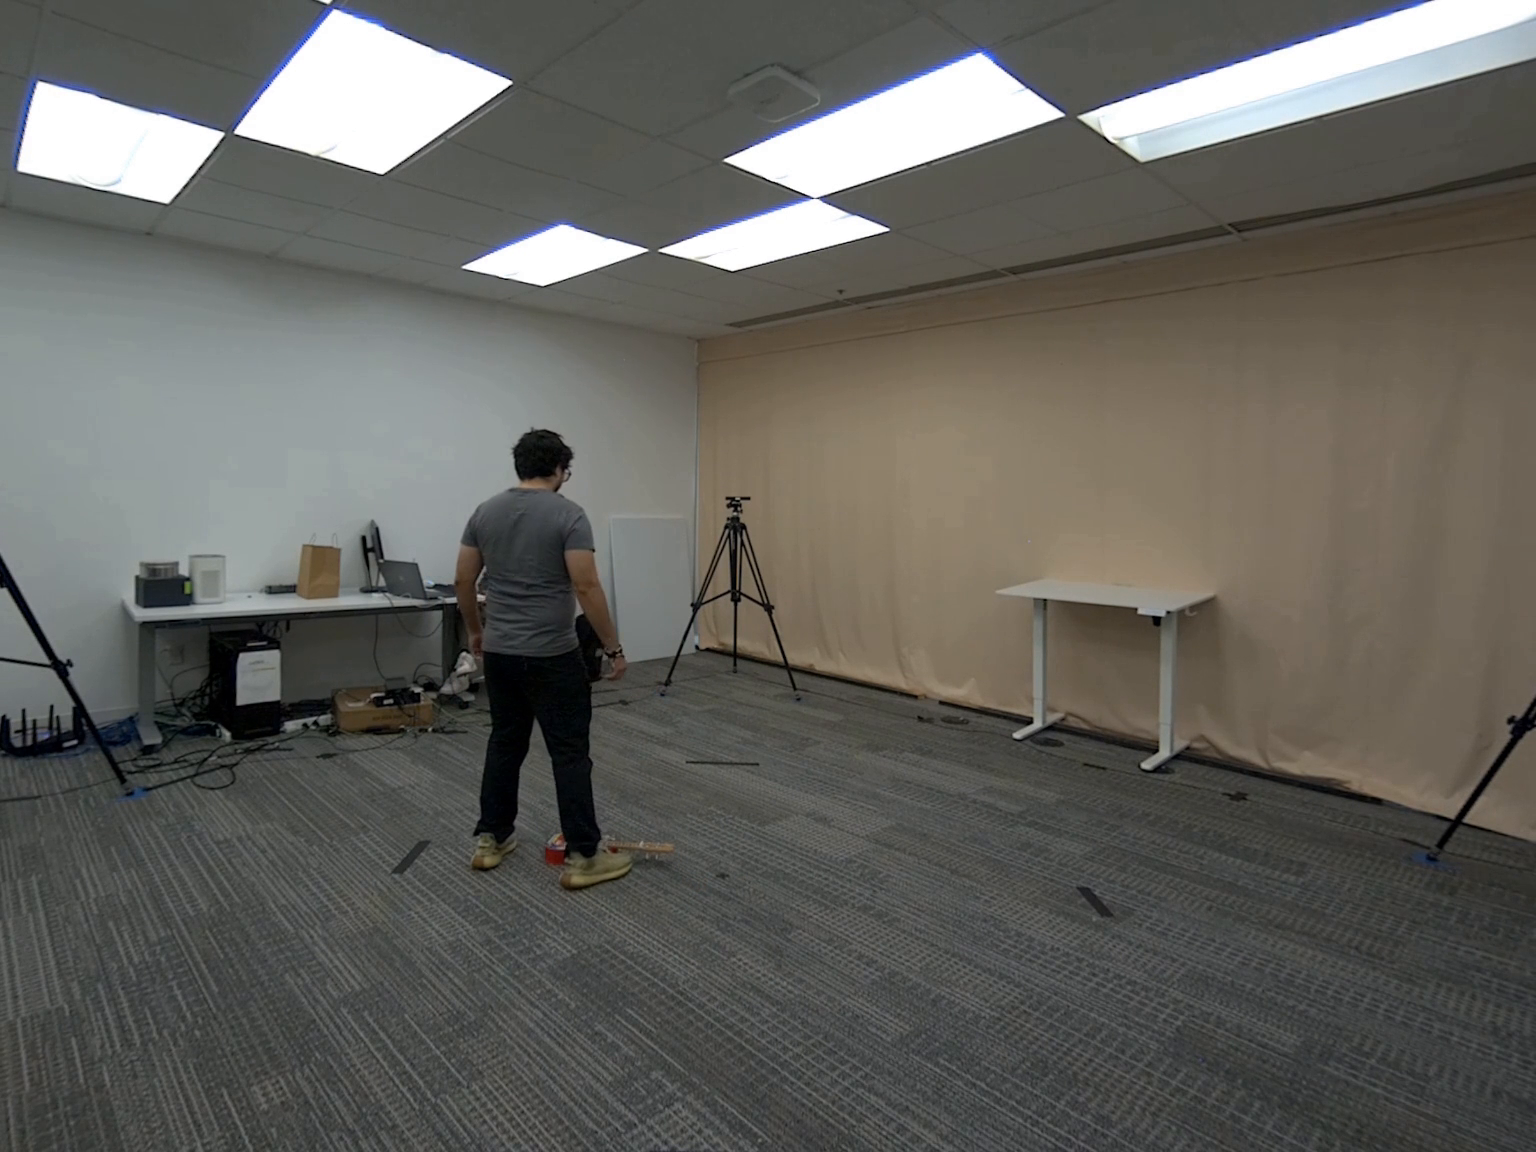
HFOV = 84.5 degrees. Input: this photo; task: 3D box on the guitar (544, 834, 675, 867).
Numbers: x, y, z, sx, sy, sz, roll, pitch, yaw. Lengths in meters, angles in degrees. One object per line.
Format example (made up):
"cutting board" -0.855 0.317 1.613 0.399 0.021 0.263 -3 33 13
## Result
"guitar" -0.613 1.049 3.195 0.505 0.070 0.191 3 6 18
